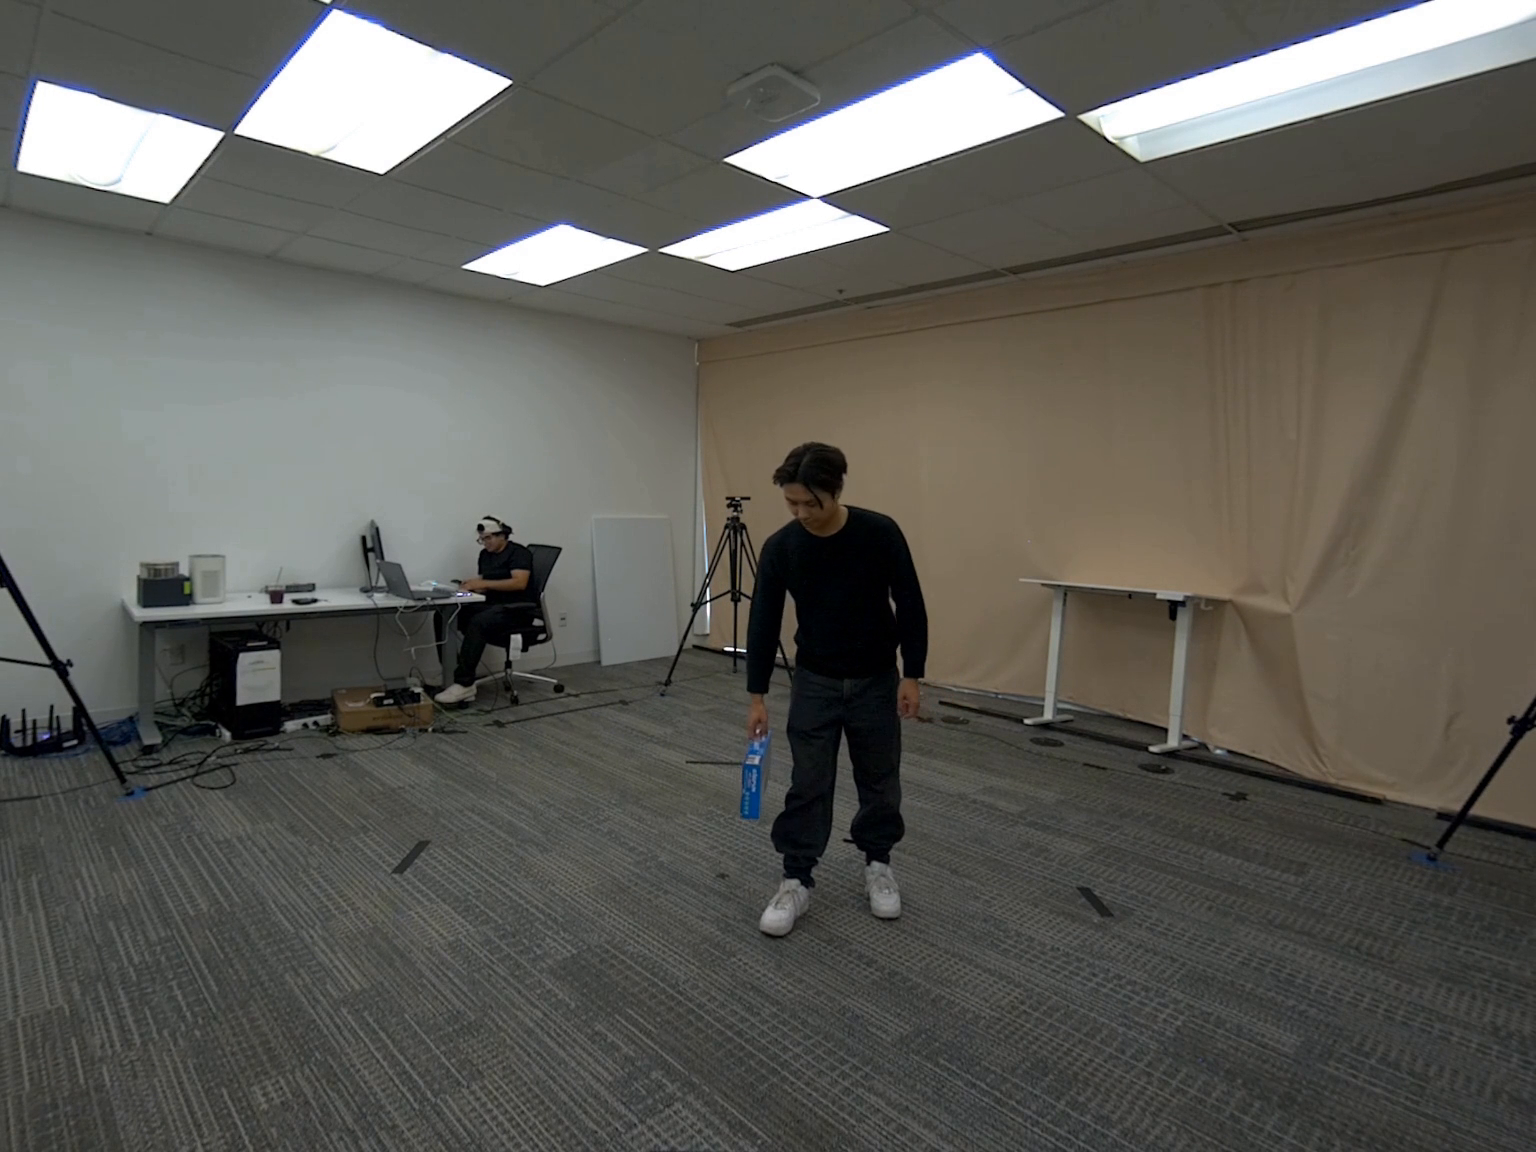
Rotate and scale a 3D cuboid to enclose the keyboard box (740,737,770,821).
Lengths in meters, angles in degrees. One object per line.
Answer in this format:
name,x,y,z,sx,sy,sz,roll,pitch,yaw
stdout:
keyboard box,-0.040,0.659,2.851,0.059,0.175,0.436,1,4,4
